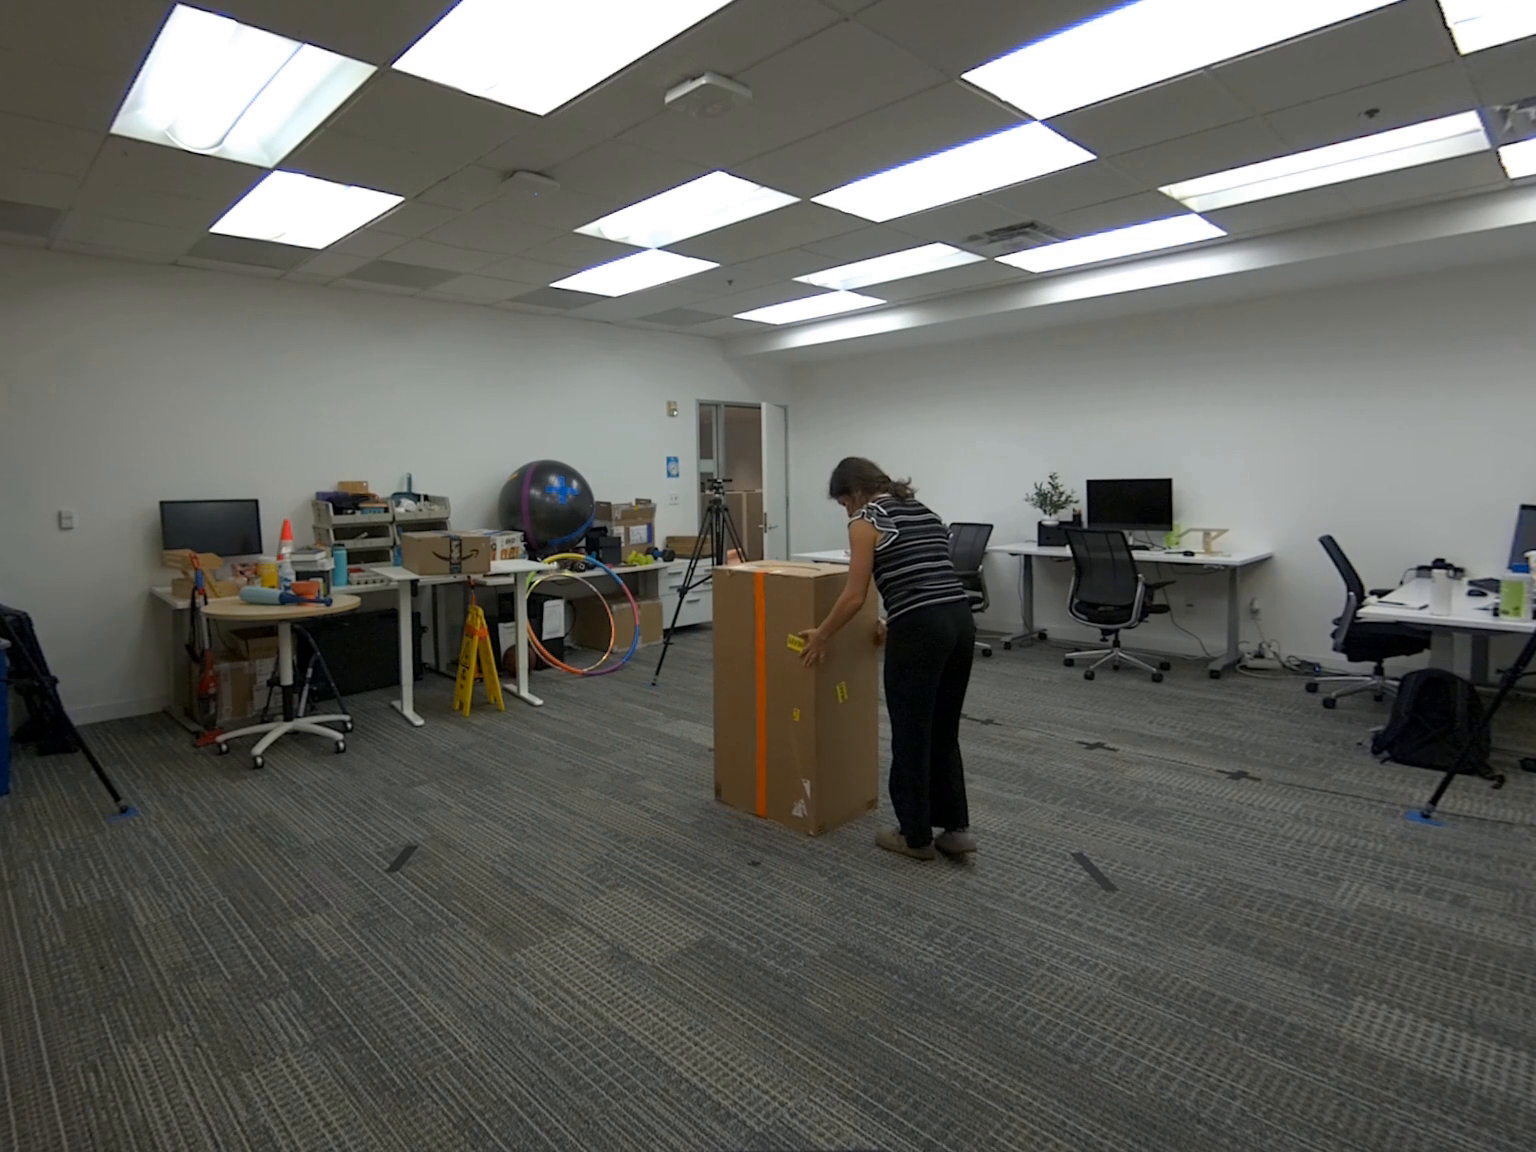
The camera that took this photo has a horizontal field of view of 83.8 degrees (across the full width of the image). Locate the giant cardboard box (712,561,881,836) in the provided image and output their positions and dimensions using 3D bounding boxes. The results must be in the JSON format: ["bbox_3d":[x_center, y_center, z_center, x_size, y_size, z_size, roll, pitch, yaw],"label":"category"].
[{"bbox_3d":[0.107,0.473,3.638,0.595,1.022,0.415,4,6,44],"label":"giant cardboard box"}]
